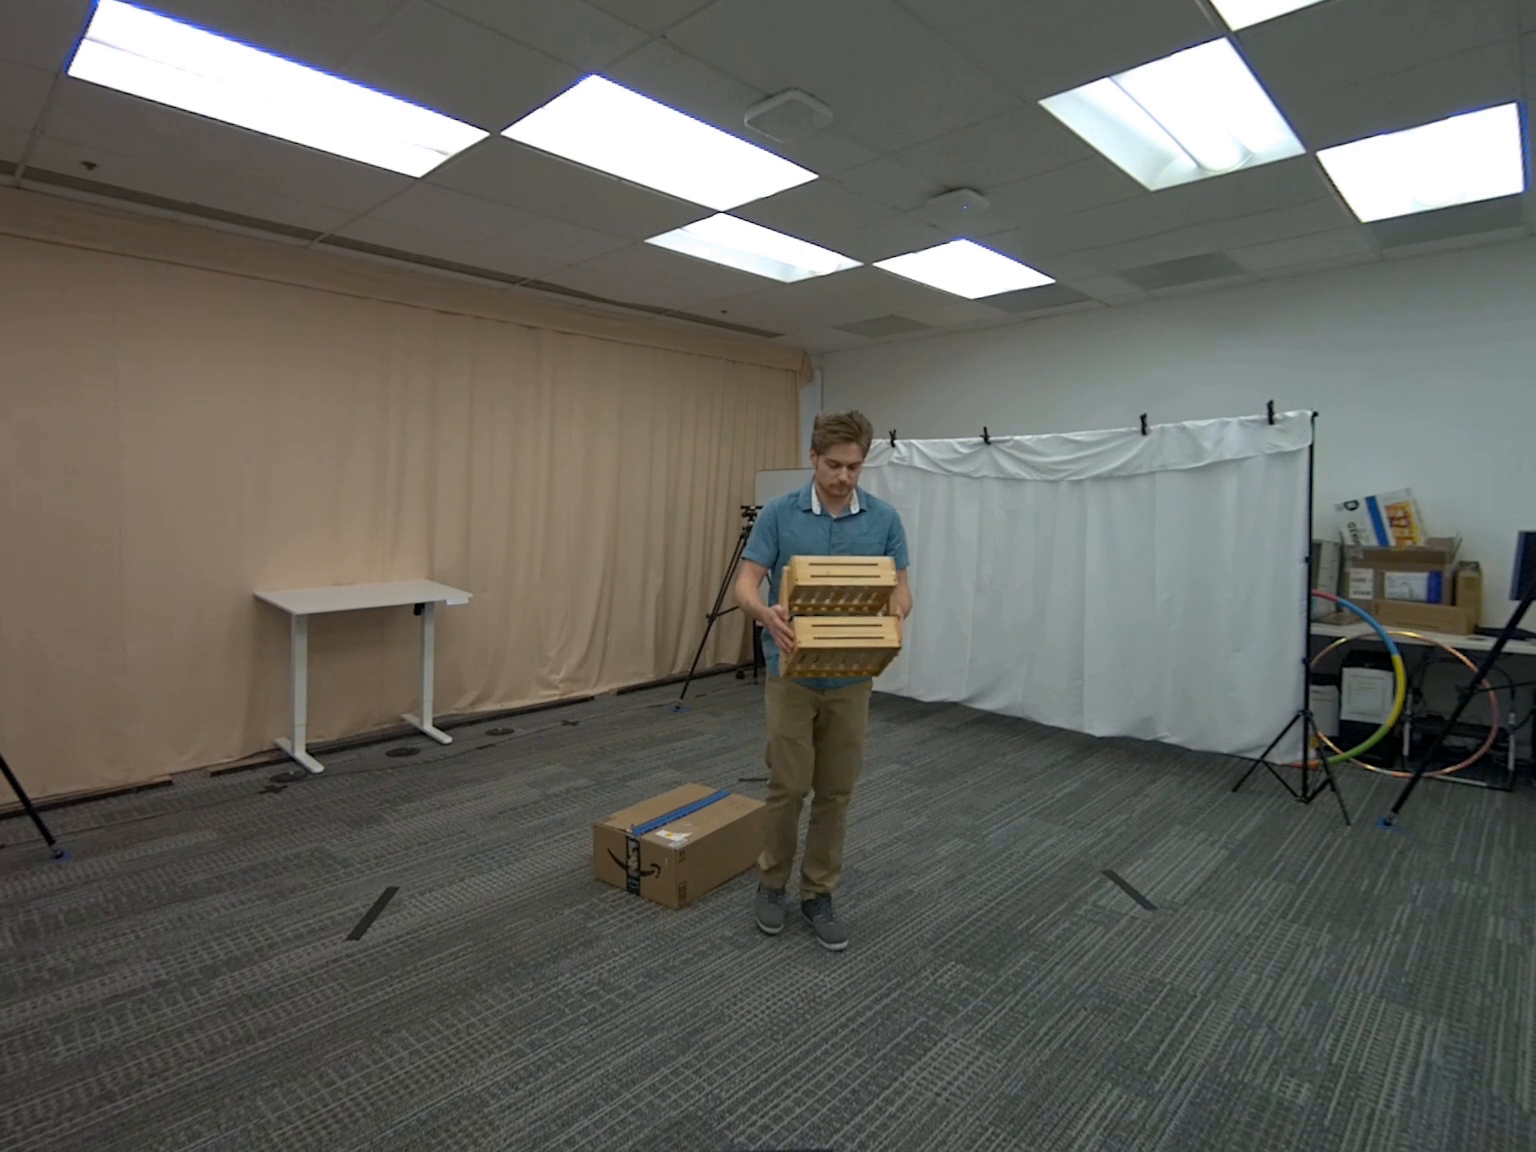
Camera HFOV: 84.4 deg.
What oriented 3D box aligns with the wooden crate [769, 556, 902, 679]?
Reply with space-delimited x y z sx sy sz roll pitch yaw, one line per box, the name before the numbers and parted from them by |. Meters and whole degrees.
wooden crate | 0.189 0.127 2.478 0.321 0.278 0.300 1 -29 -10
